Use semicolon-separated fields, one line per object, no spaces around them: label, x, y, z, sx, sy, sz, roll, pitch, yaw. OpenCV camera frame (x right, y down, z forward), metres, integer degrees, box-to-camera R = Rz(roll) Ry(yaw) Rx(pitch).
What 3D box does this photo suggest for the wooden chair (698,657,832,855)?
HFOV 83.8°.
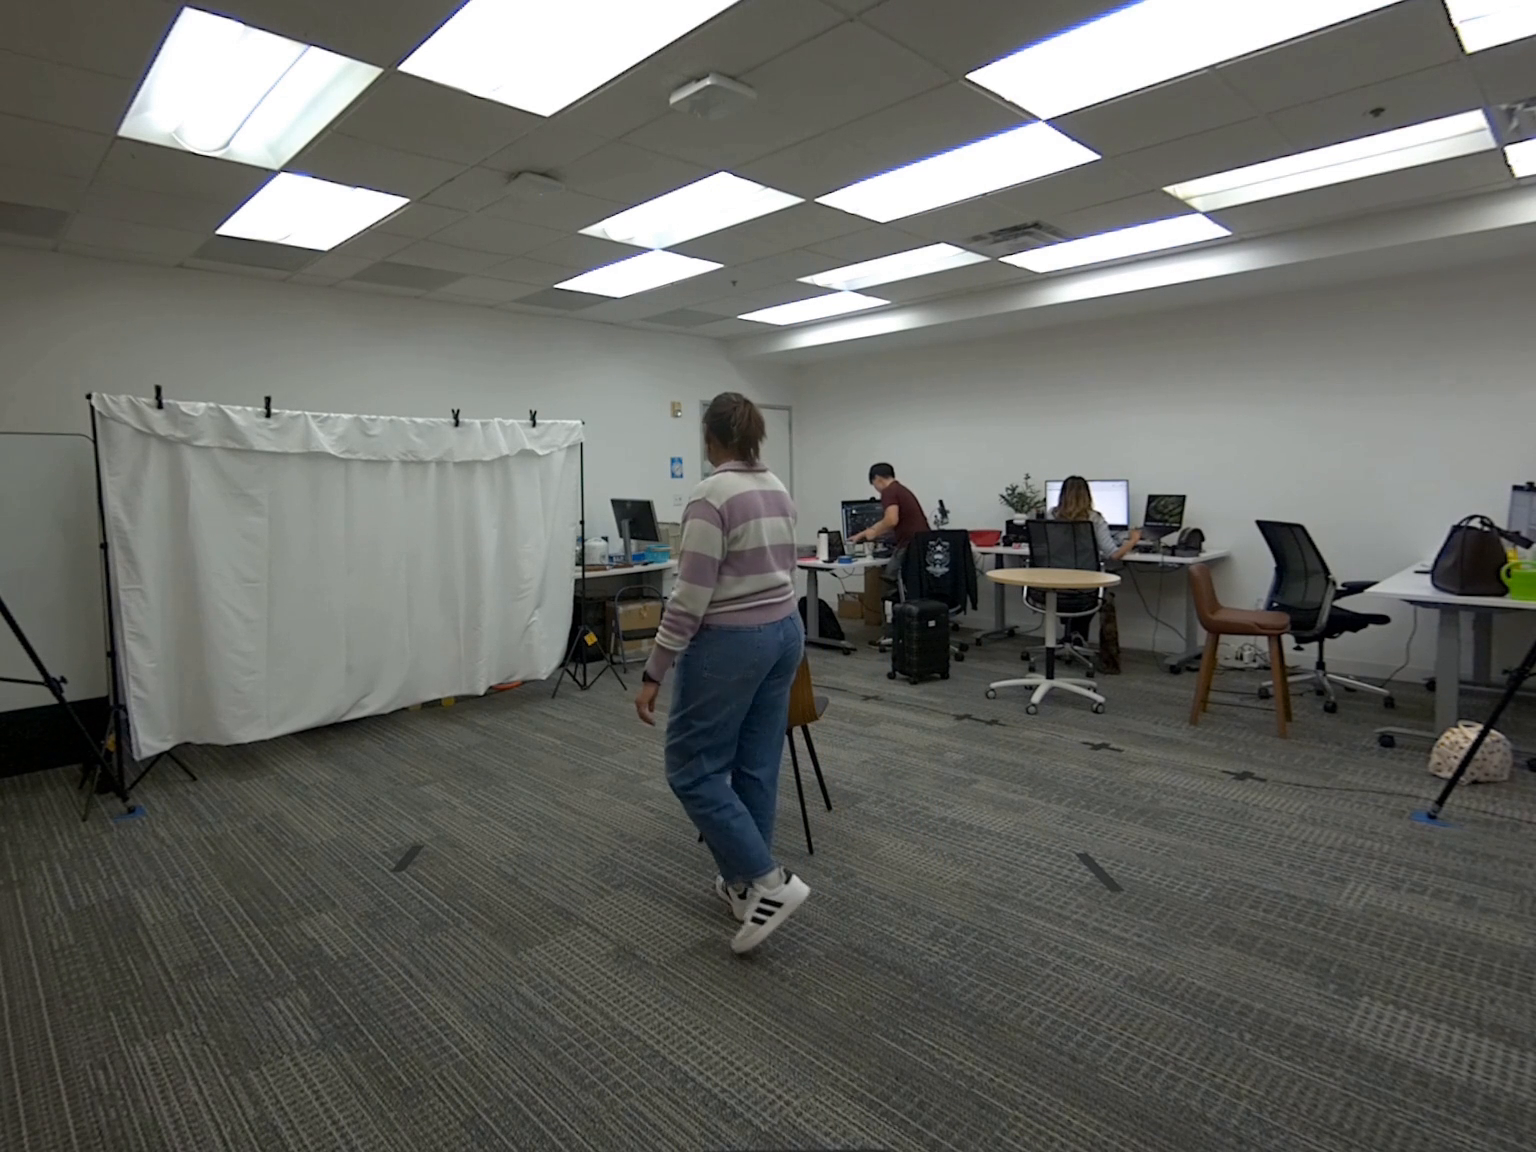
wooden chair;0.002;0.583;3.428;0.485;0.871;0.519;0;8;15
